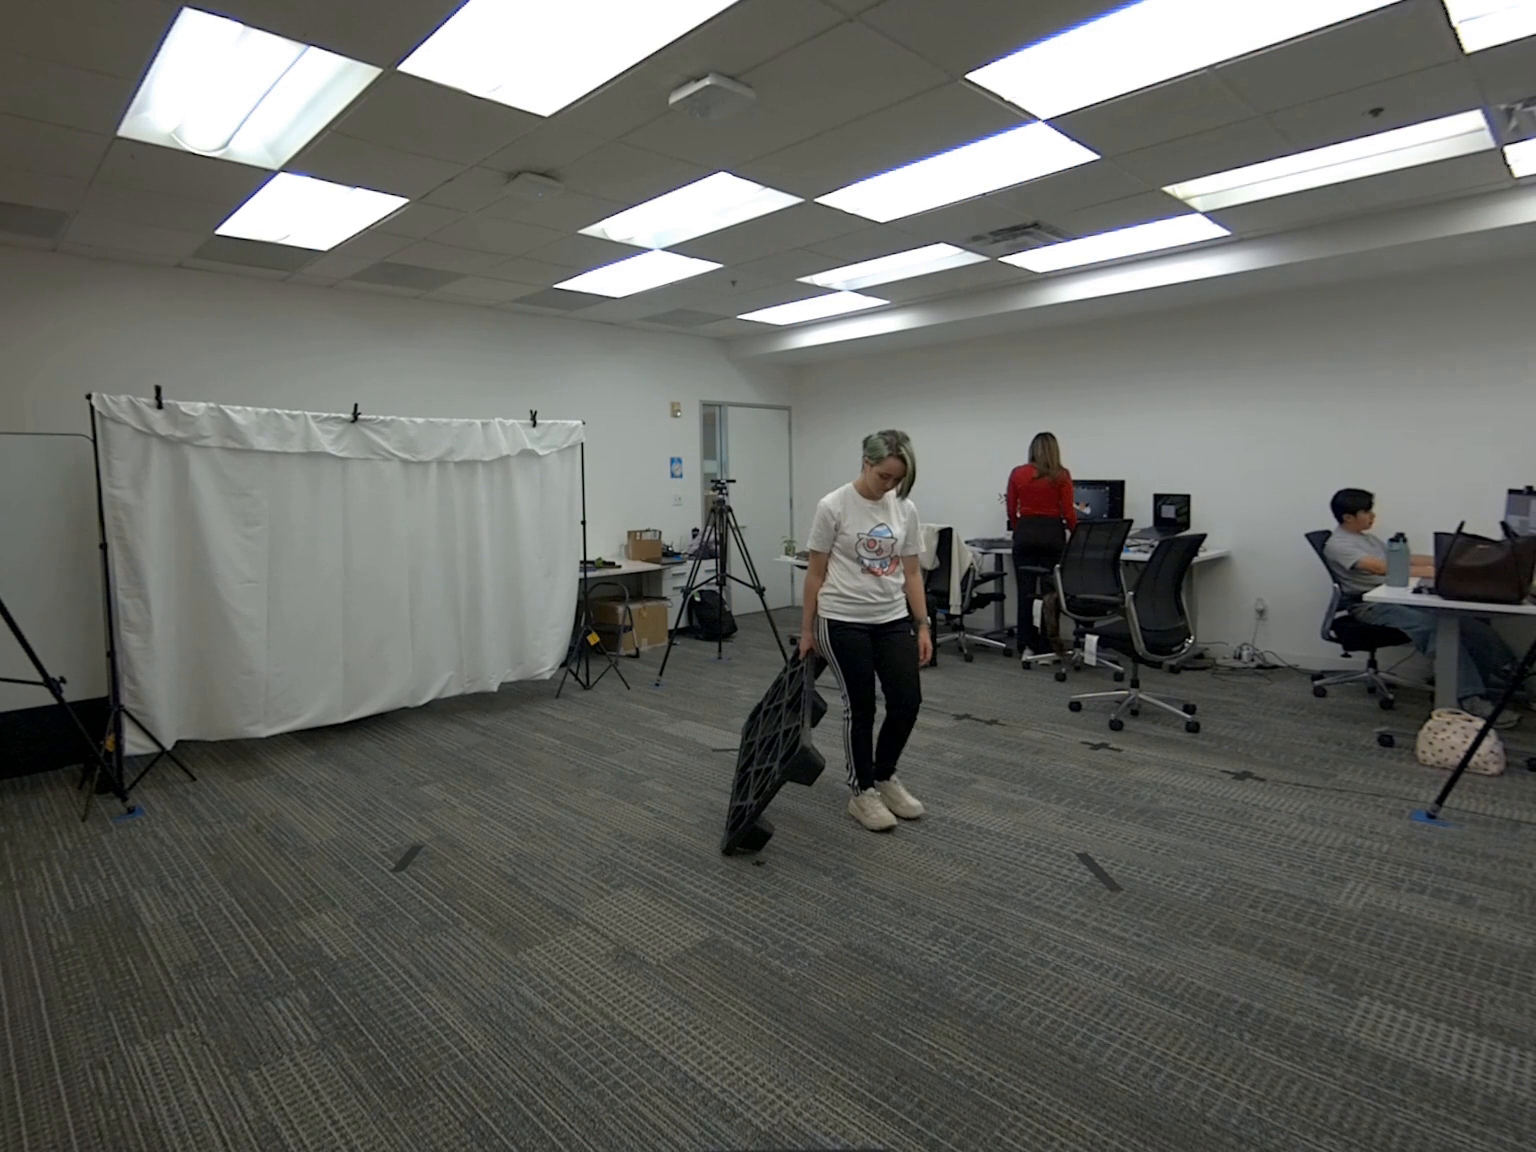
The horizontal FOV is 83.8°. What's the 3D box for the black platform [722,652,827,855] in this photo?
[{"bbox_3d":[0.053,0.662,3.412,0.142,0.601,0.817,27,25,-8],"label":"black platform"}]
